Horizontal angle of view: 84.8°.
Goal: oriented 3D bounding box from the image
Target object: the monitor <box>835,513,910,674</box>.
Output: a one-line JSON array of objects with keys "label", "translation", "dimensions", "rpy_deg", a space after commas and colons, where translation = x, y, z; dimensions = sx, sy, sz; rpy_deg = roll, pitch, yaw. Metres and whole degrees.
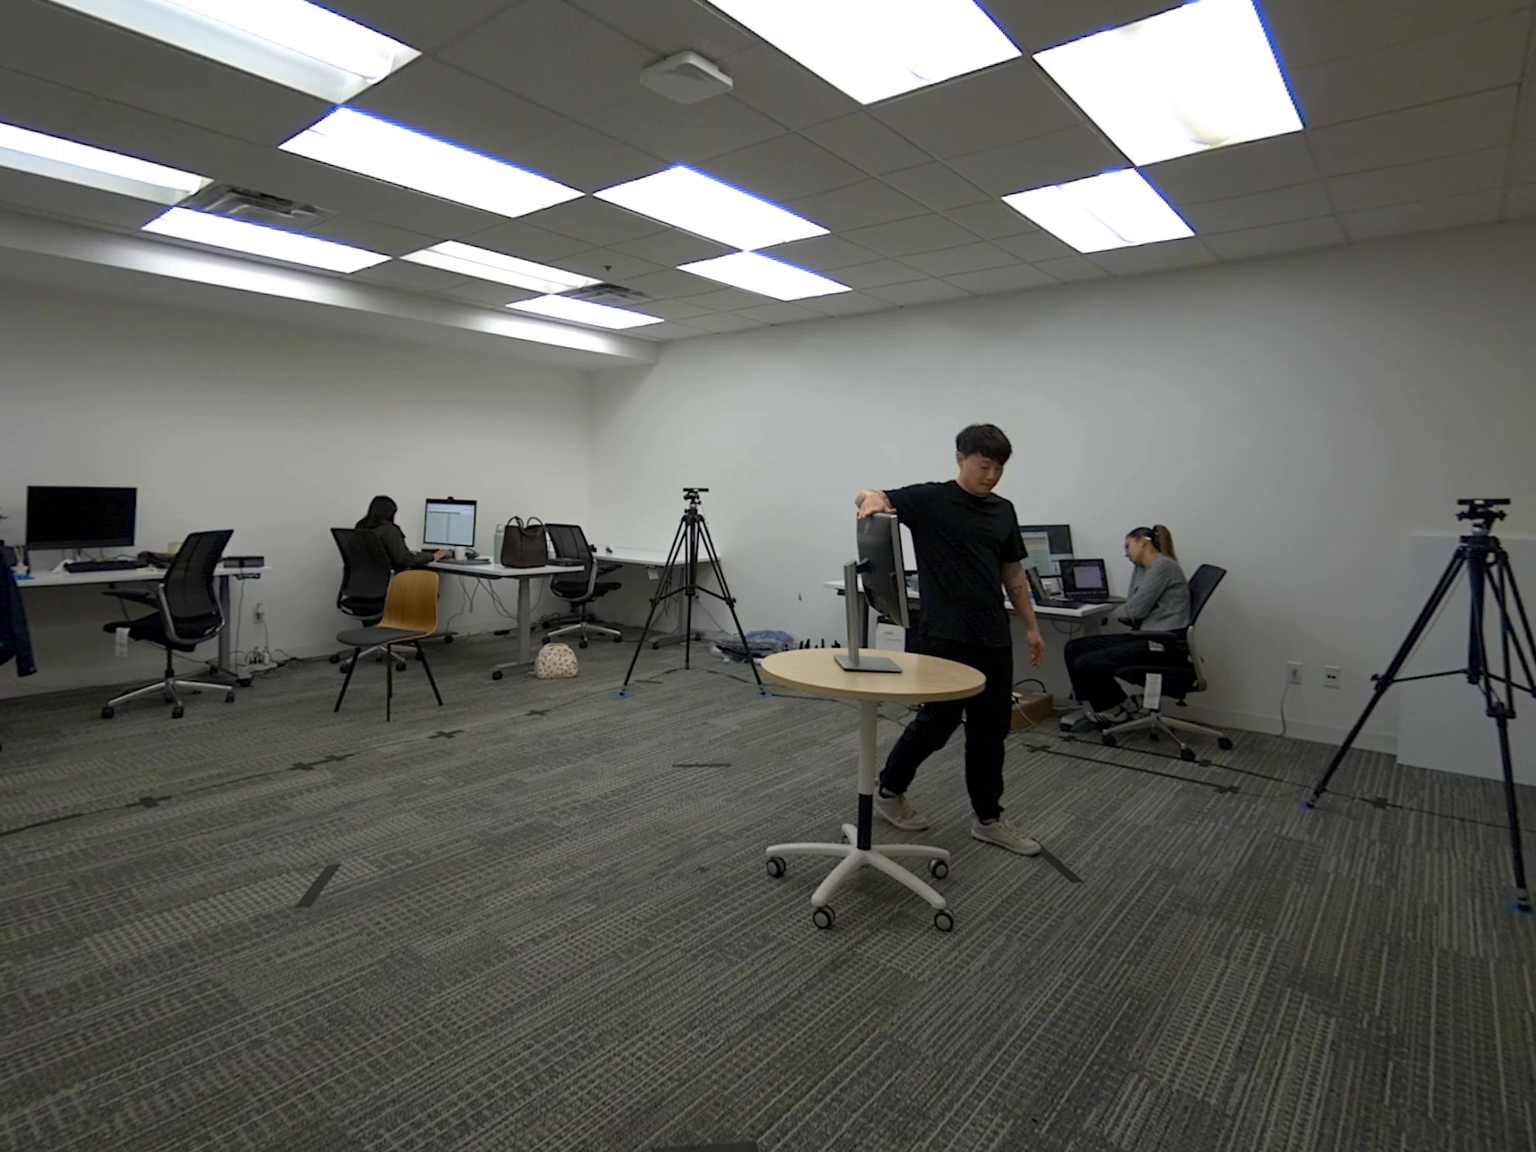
[{"label": "monitor", "translation": [0.349, 0.051, 2.994], "dimensions": [0.186, 0.521, 0.545], "rpy_deg": [3, 5, -8]}]
